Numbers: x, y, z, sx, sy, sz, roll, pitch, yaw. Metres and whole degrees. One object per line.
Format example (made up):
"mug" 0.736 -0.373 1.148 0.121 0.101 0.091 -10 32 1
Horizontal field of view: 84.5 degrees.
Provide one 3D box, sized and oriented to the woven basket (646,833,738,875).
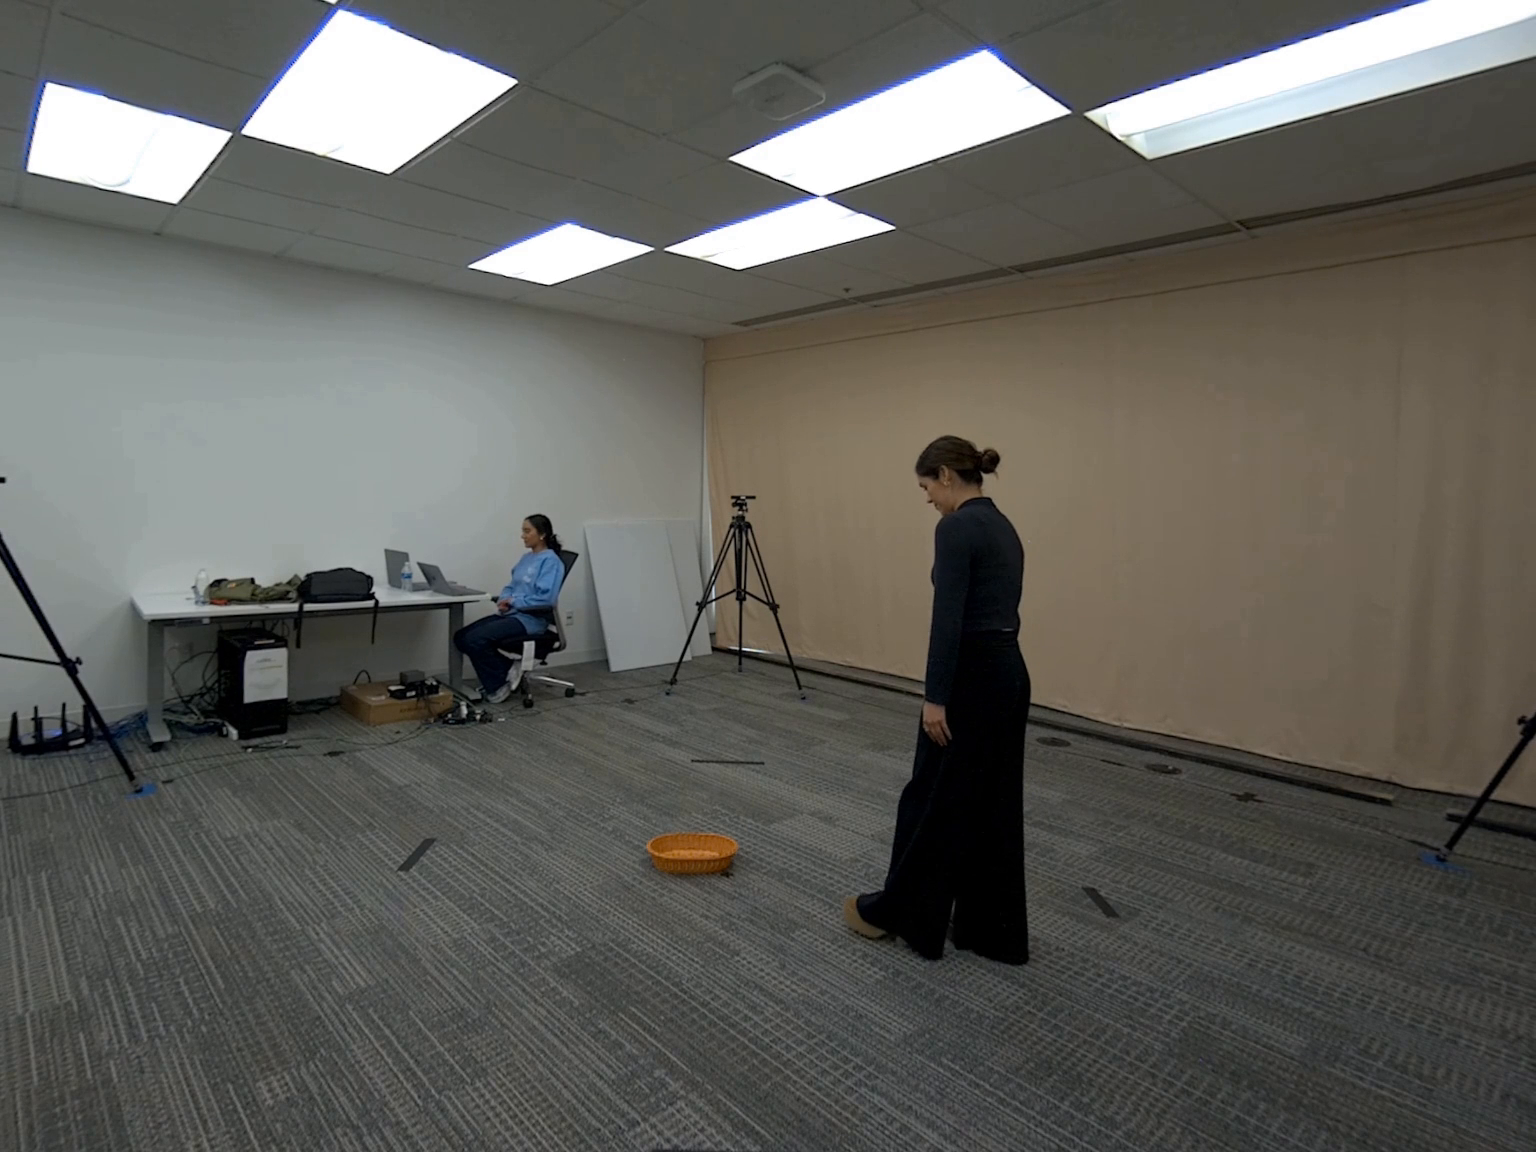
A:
"woven basket" -0.291 1.052 3.192 0.349 0.073 0.254 1 4 -4
